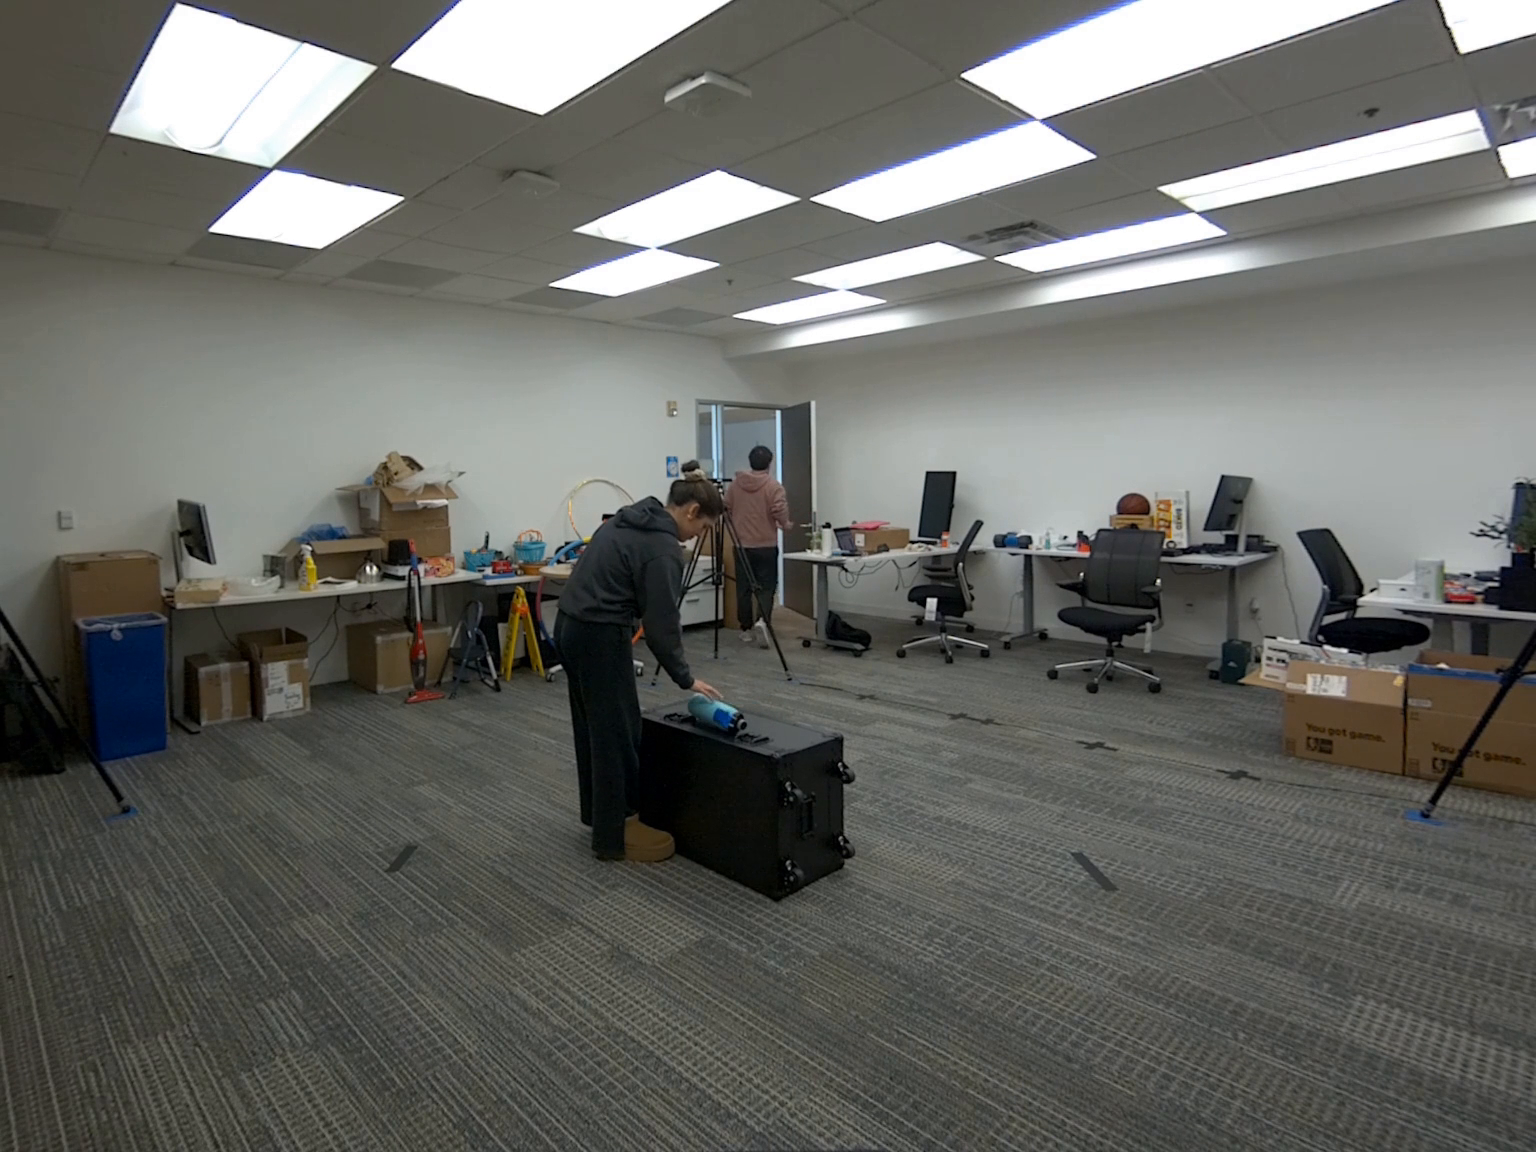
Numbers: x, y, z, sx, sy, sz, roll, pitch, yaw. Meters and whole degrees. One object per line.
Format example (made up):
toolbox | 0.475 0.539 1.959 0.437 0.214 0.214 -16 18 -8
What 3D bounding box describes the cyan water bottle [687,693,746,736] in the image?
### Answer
cyan water bottle | -0.182 0.506 3.149 0.090 0.092 0.293 -4 10 -36
